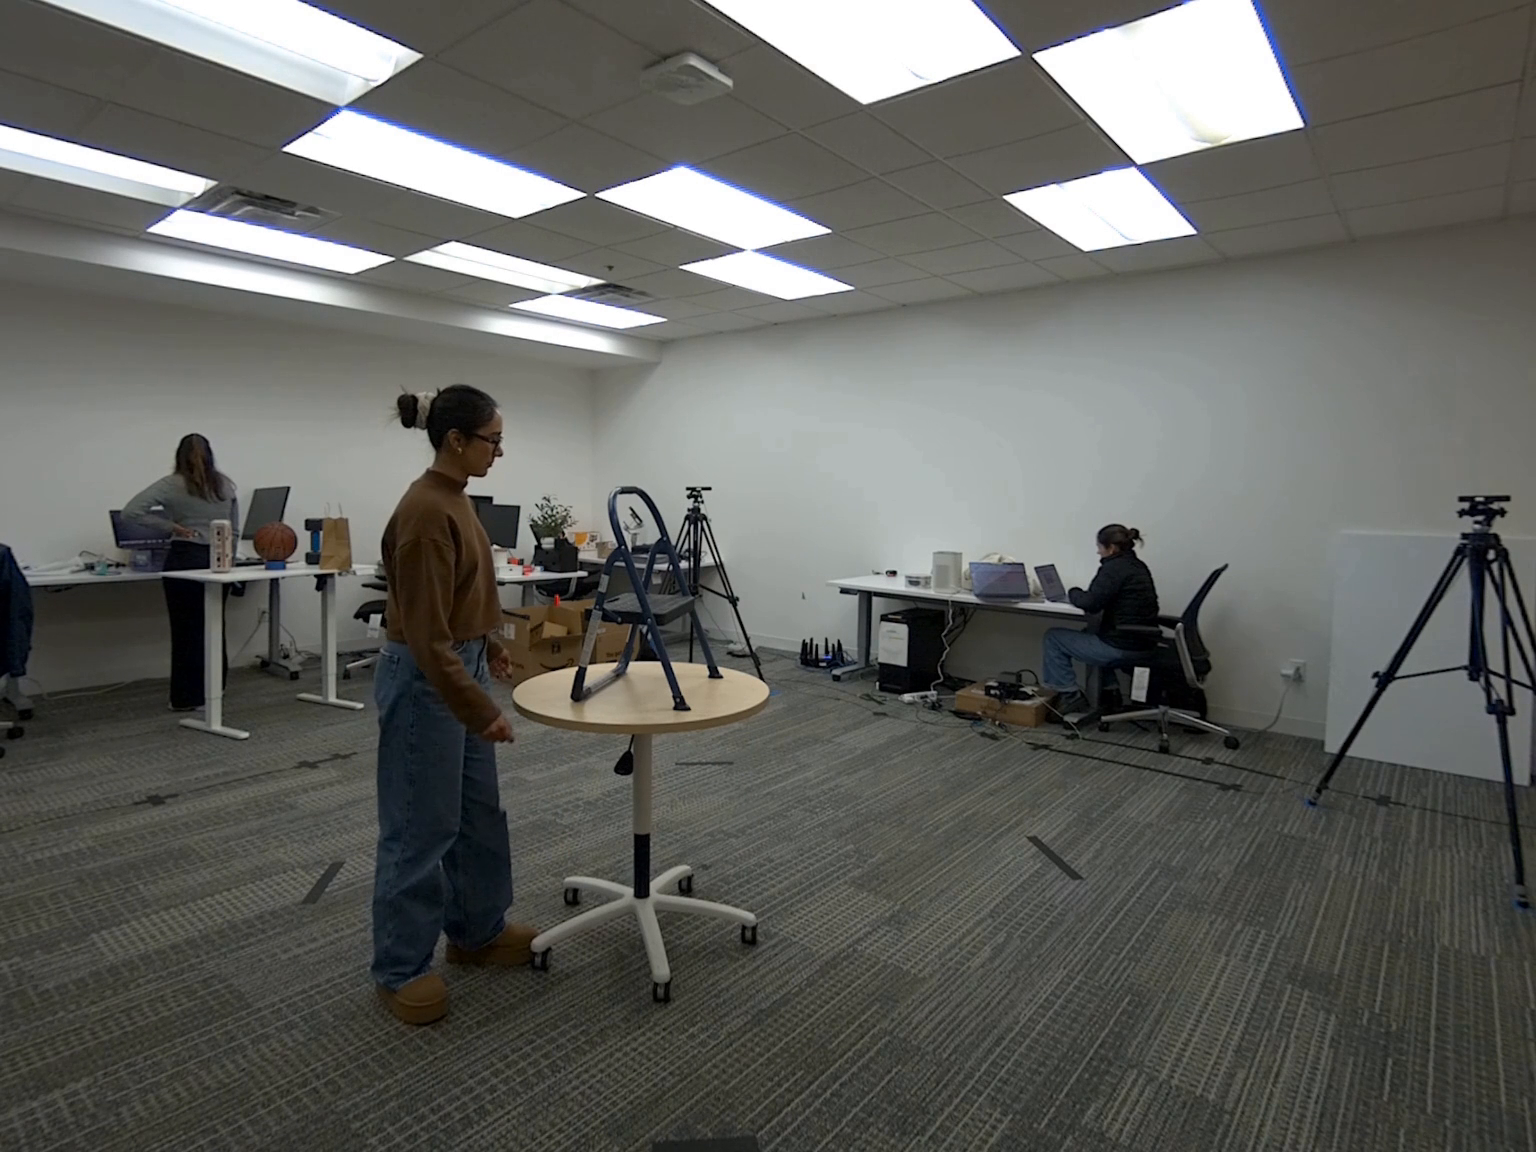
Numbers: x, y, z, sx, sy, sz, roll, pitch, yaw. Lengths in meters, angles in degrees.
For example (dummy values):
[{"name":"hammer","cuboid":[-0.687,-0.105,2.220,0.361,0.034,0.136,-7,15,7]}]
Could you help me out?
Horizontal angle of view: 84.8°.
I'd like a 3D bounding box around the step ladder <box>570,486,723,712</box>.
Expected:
[{"name":"step ladder","cuboid":[-0.362,0.040,2.538,0.354,0.604,0.426,2,4,12]}]
